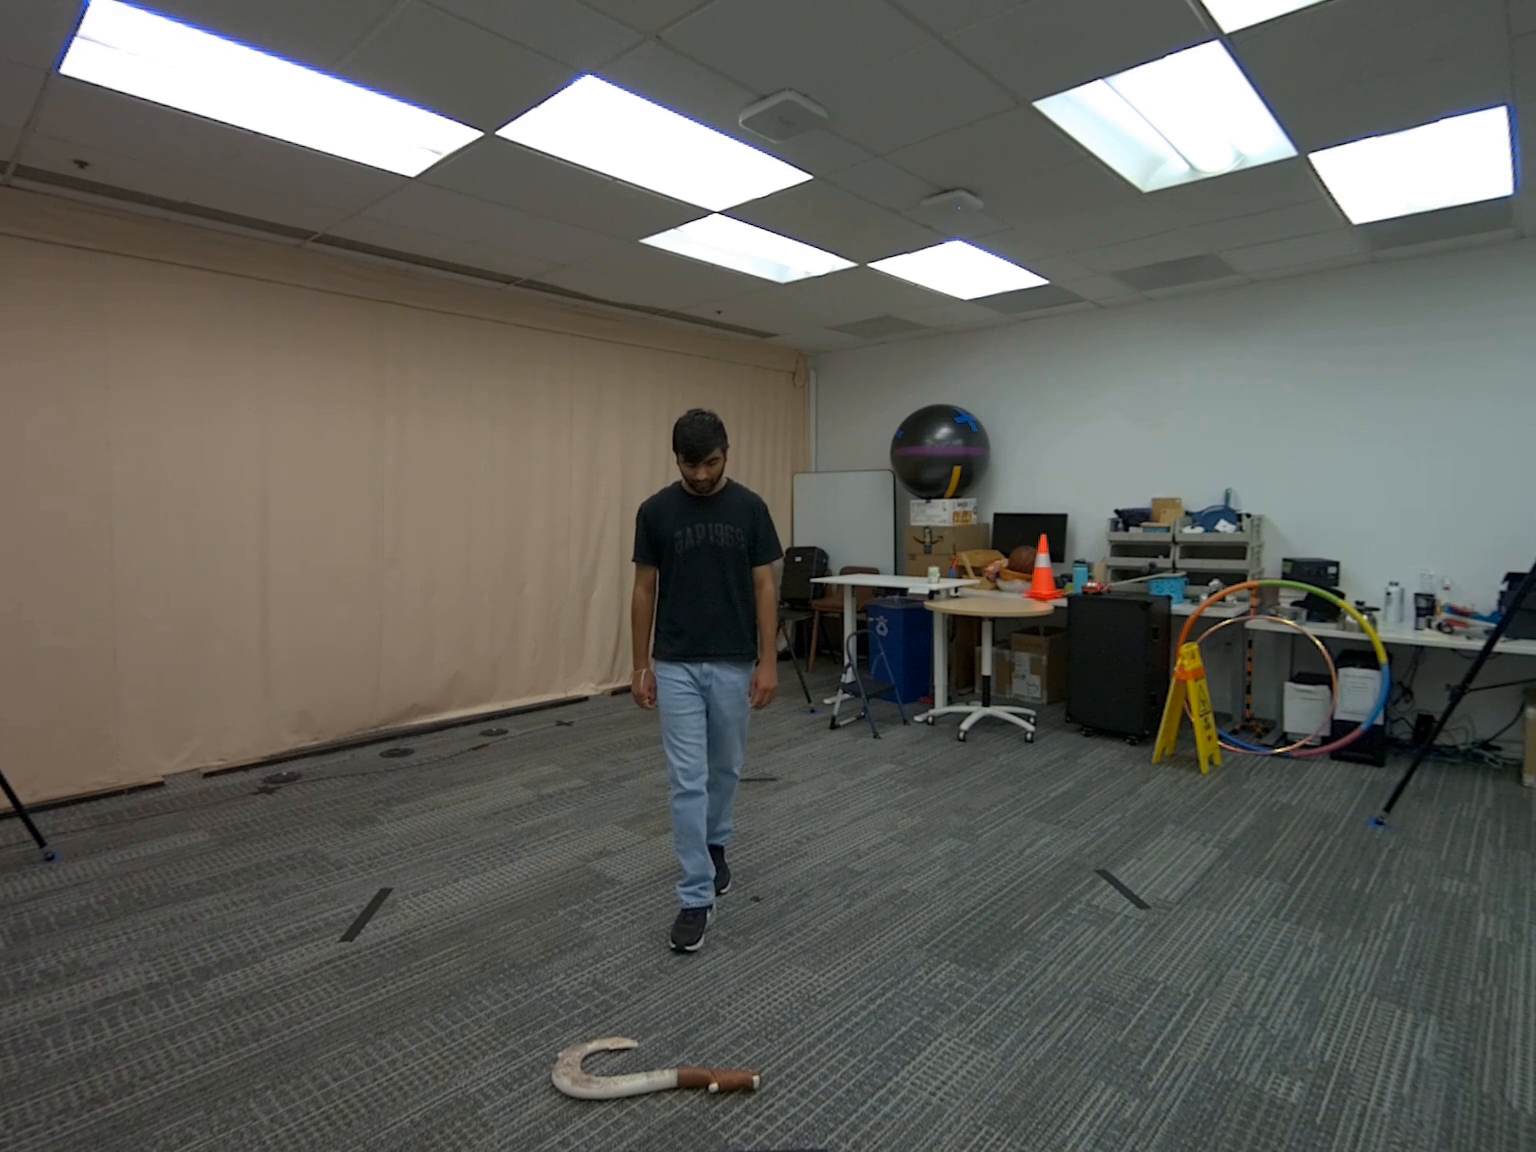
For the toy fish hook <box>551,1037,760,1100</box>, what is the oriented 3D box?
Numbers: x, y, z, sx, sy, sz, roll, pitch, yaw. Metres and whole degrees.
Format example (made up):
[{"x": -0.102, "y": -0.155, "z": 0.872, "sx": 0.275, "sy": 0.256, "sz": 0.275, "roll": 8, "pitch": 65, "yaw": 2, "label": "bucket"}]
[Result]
[{"x": -0.270, "y": 1.197, "z": 2.065, "sx": 0.507, "sy": 0.048, "sz": 0.225, "roll": 0, "pitch": 5, "yaw": 1, "label": "toy fish hook"}]
